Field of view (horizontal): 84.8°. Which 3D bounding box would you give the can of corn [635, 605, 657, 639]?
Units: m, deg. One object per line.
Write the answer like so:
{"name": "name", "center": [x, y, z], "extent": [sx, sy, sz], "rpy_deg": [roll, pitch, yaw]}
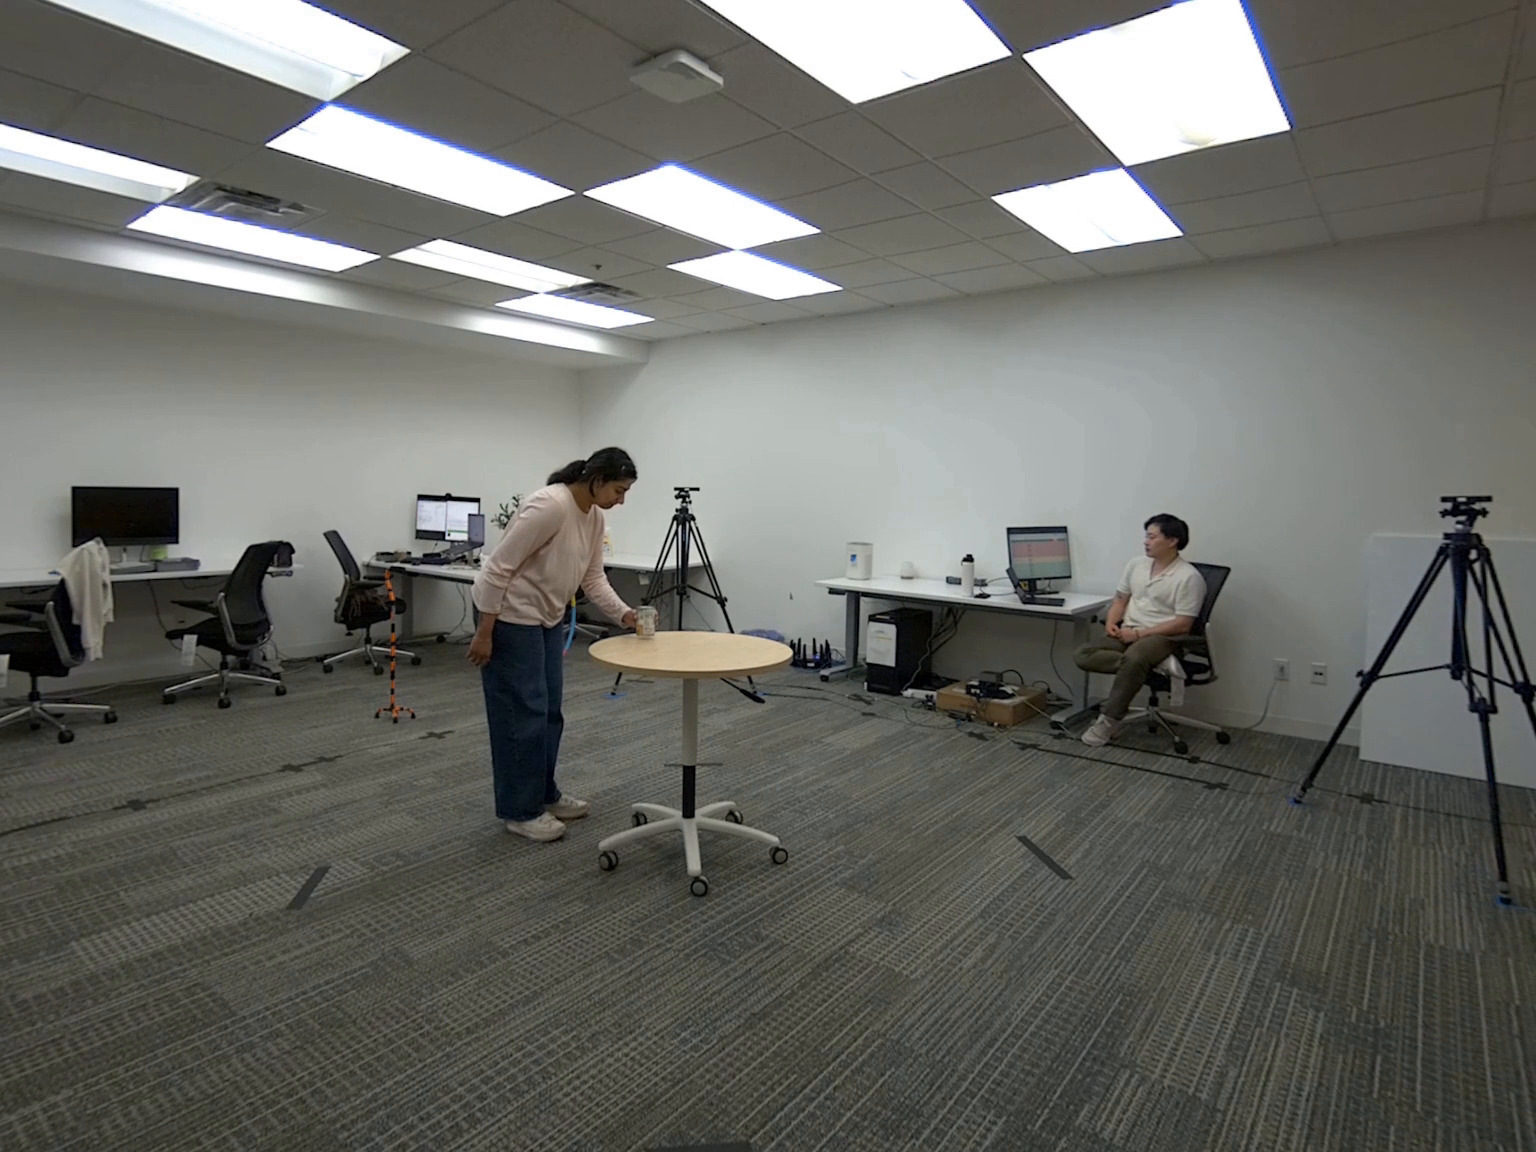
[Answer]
{"name": "can of corn", "center": [-0.518, 0.175, 3.432], "extent": [0.074, 0.110, 0.074], "rpy_deg": [-1, 5, -2]}
